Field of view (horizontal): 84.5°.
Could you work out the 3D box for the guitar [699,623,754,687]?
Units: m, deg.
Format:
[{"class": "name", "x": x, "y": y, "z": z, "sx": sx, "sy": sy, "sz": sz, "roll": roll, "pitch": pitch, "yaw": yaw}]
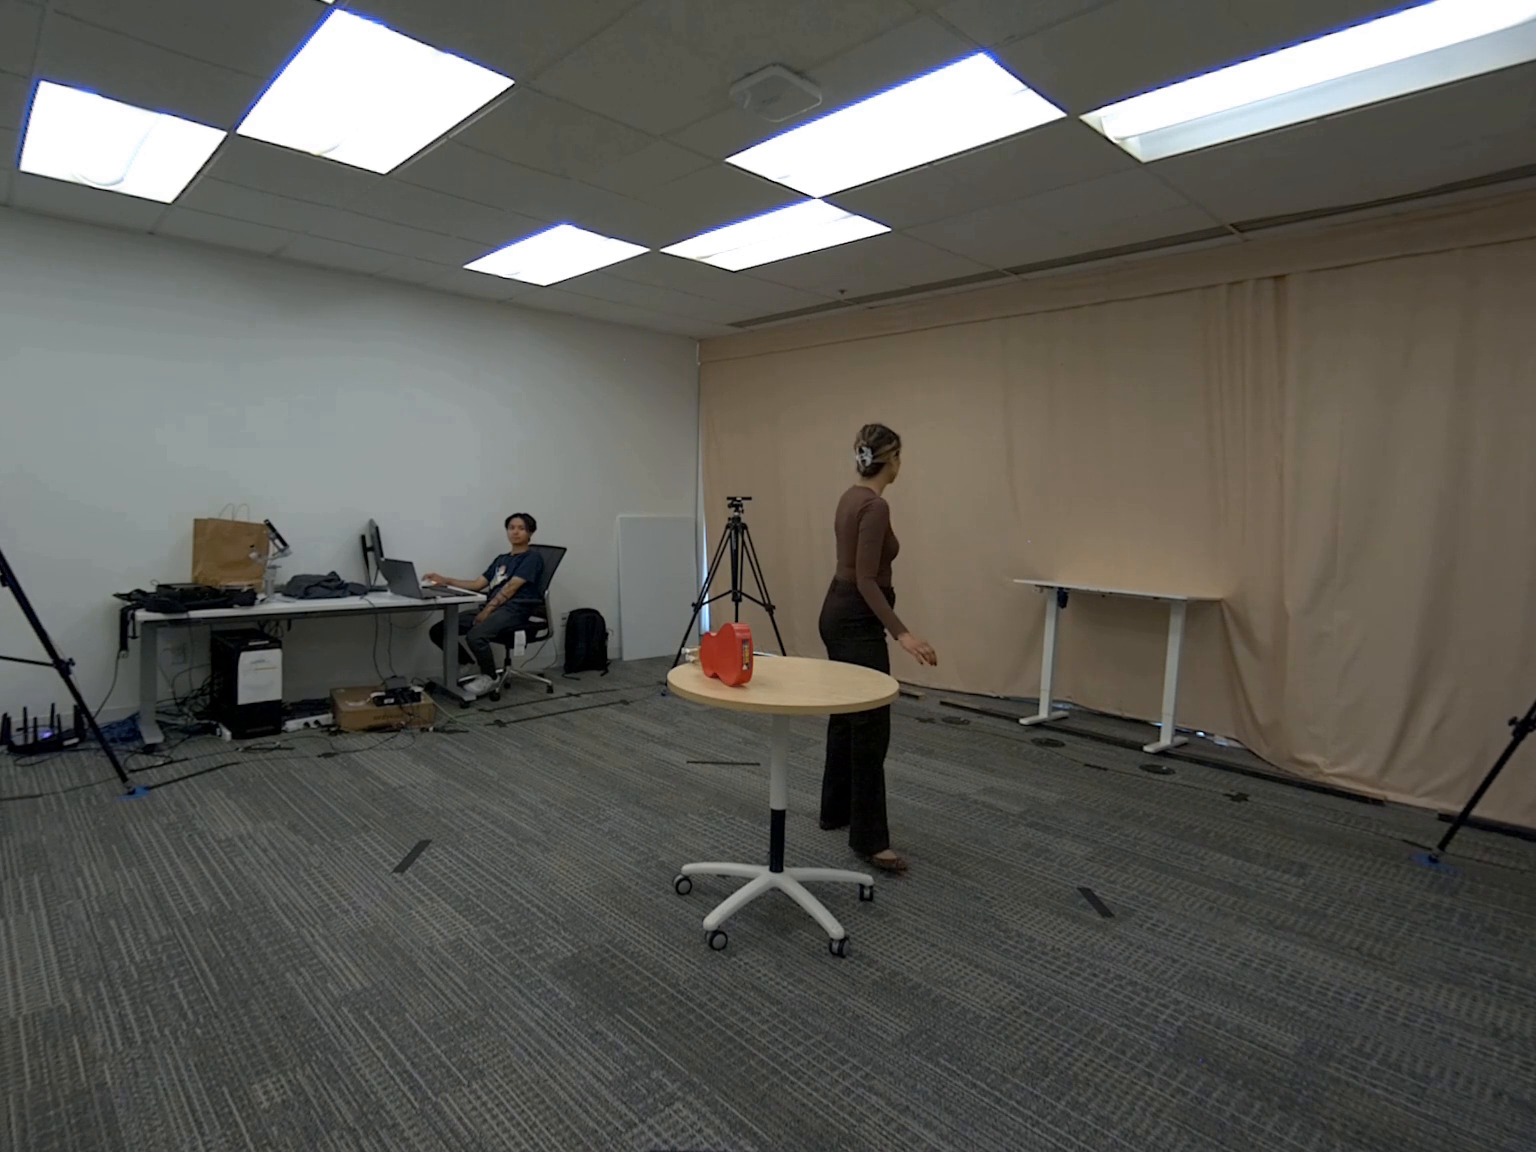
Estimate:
[{"class": "guitar", "x": -0.192, "y": 0.293, "z": 2.823, "sx": 0.069, "sy": 0.195, "sz": 0.502, "roll": 2, "pitch": -15, "yaw": -28}]
